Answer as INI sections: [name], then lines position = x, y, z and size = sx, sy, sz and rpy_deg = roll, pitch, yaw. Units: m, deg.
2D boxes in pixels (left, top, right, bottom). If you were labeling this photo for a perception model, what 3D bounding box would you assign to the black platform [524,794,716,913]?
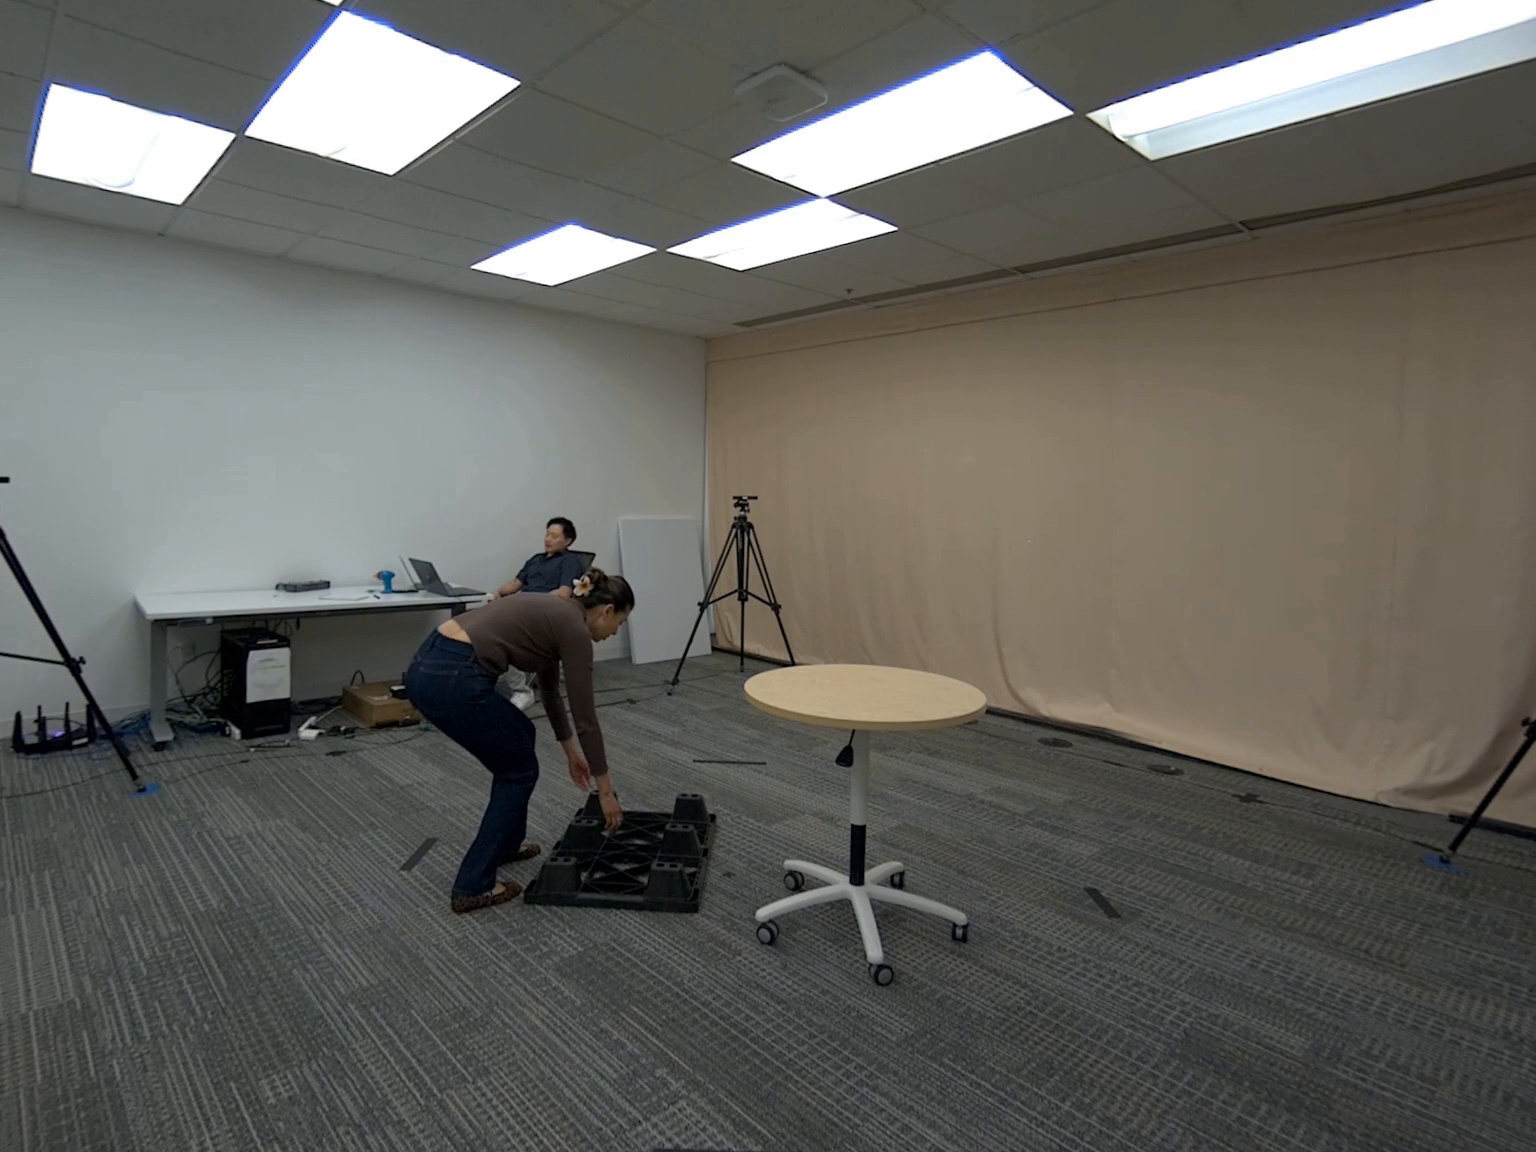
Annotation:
[black platform]
position = -0.531, 1.017, 3.224
size = 0.606, 0.143, 0.807
rpy_deg = 2, 5, 1
